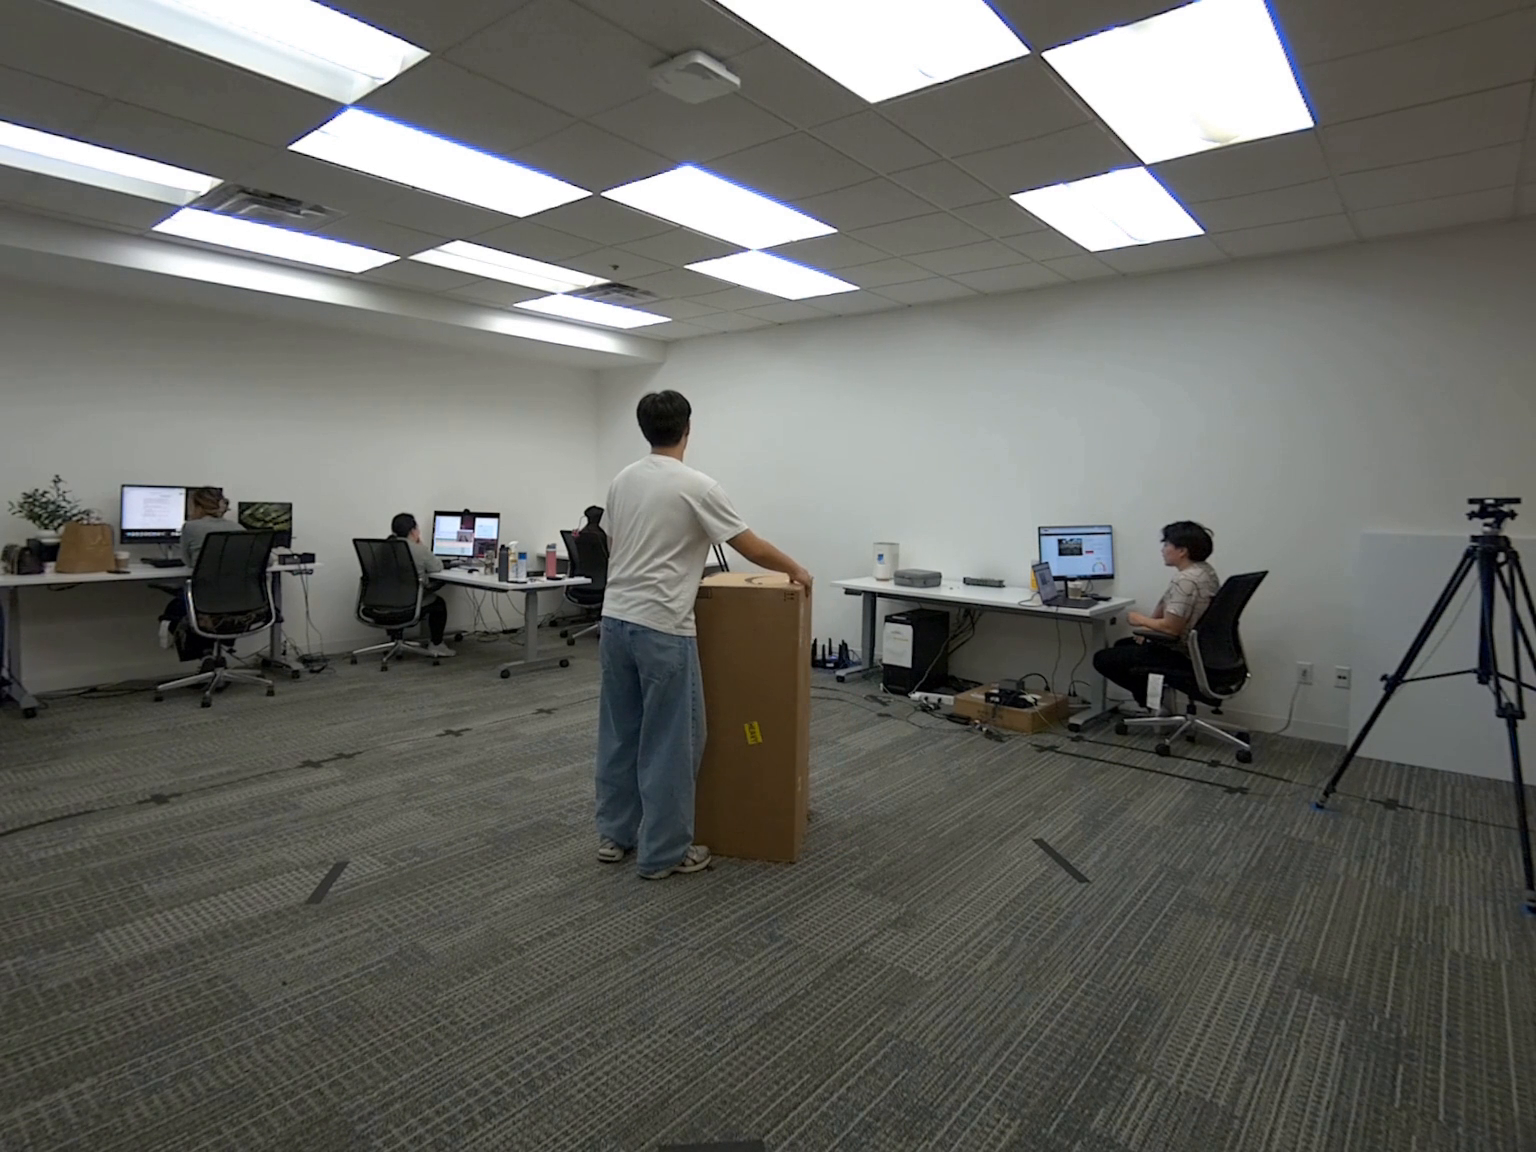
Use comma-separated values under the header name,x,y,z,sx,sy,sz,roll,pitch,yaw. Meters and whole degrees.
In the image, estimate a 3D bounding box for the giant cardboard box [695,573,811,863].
name,x,y,z,sx,sy,sz,roll,pitch,yaw
giant cardboard box,-0.057,0.521,3.460,0.431,1.023,0.572,1,3,10
